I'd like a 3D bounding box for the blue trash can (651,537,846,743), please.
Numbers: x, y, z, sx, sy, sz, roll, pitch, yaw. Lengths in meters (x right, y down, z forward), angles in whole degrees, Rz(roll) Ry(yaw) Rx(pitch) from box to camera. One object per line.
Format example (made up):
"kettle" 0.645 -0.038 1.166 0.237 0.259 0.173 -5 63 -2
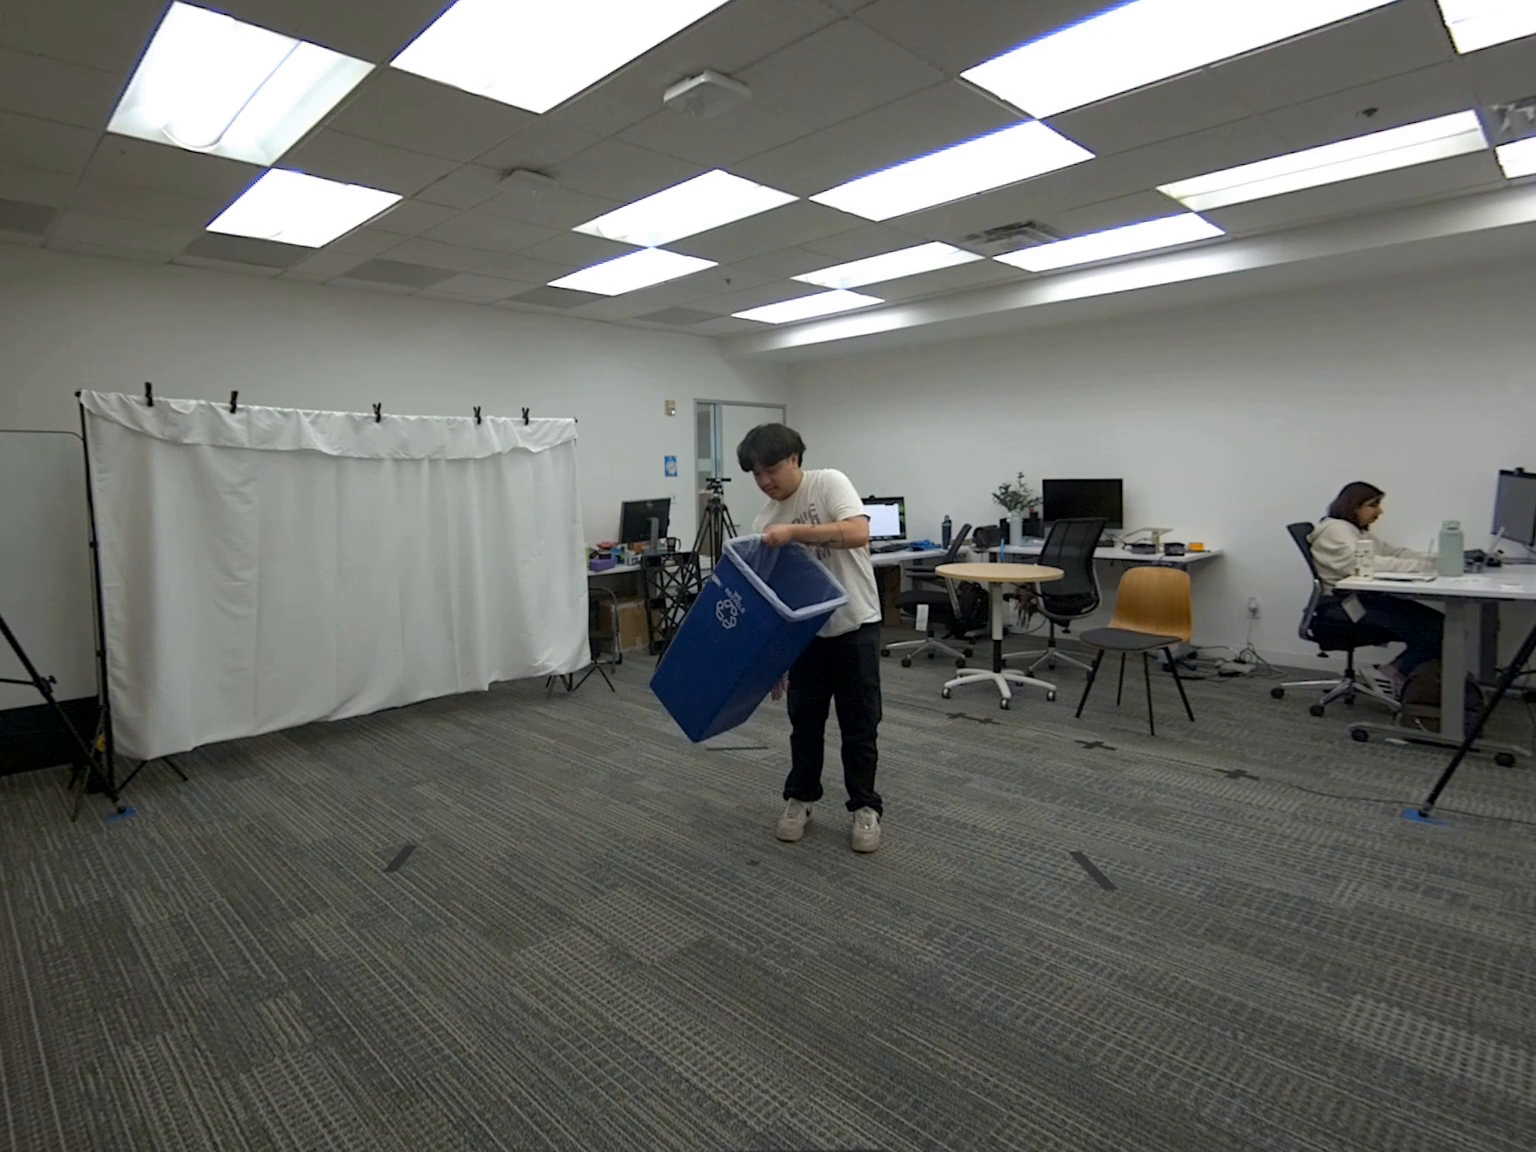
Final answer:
"blue trash can" -0.090 0.251 3.085 0.369 0.708 0.385 -12 51 -50
